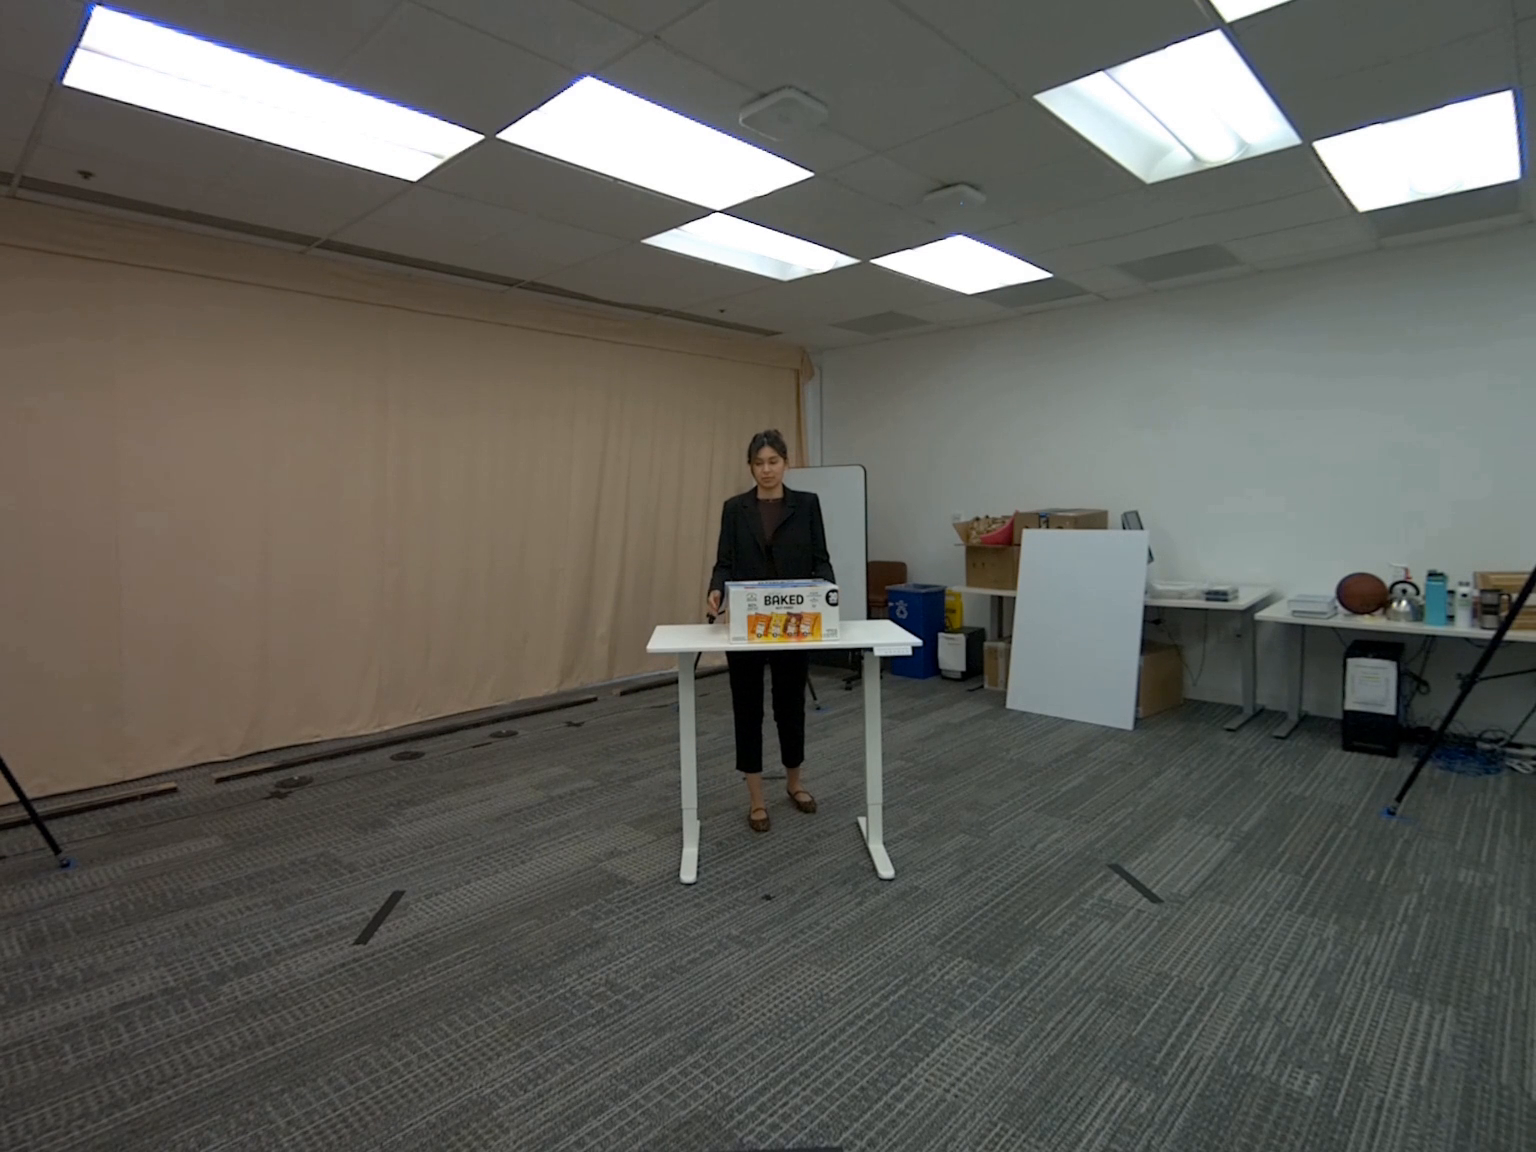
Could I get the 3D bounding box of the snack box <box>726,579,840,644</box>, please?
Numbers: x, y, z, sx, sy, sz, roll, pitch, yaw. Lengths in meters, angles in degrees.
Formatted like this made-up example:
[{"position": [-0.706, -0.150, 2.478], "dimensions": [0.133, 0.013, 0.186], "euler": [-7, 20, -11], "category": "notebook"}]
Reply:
[{"position": [0.042, 0.132, 3.263], "dimensions": [0.404, 0.205, 0.342], "euler": [-1, 4, -3], "category": "snack box"}]
